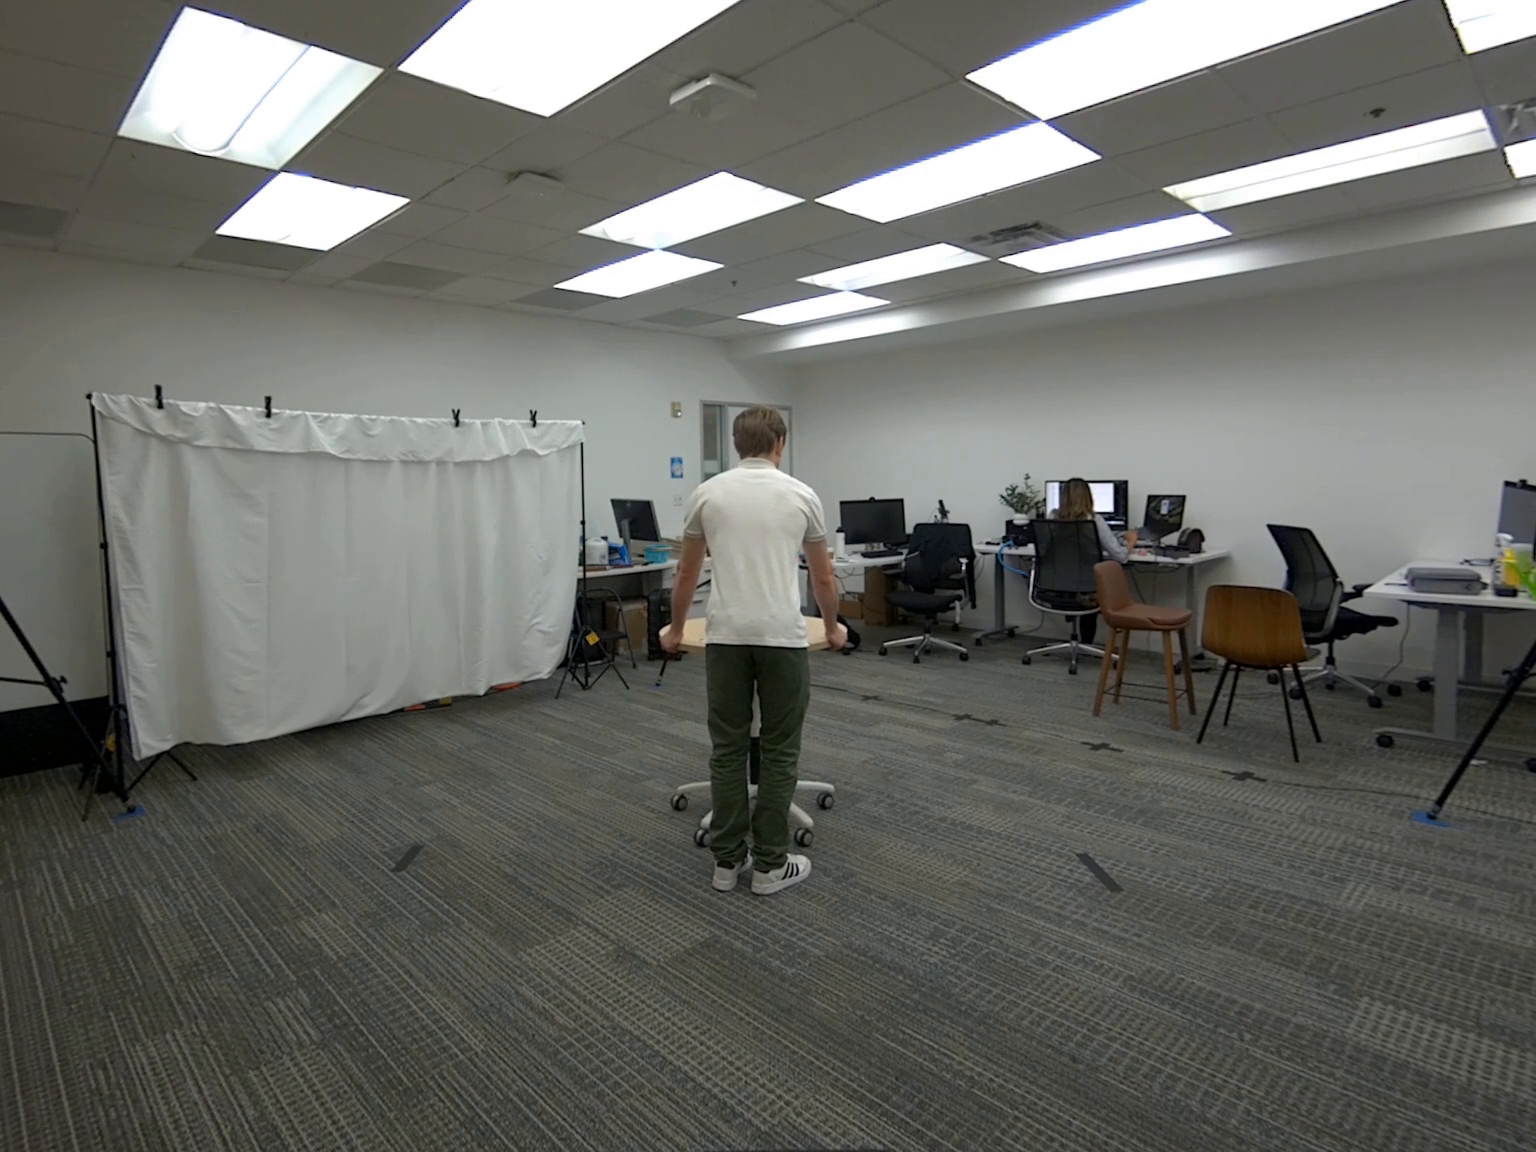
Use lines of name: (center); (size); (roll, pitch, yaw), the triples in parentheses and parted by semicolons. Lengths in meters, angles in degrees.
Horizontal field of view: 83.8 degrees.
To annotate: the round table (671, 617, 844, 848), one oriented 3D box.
round table: (-0.049, 0.612, 3.525); (0.763, 0.791, 0.768); (-1, 5, -2)
